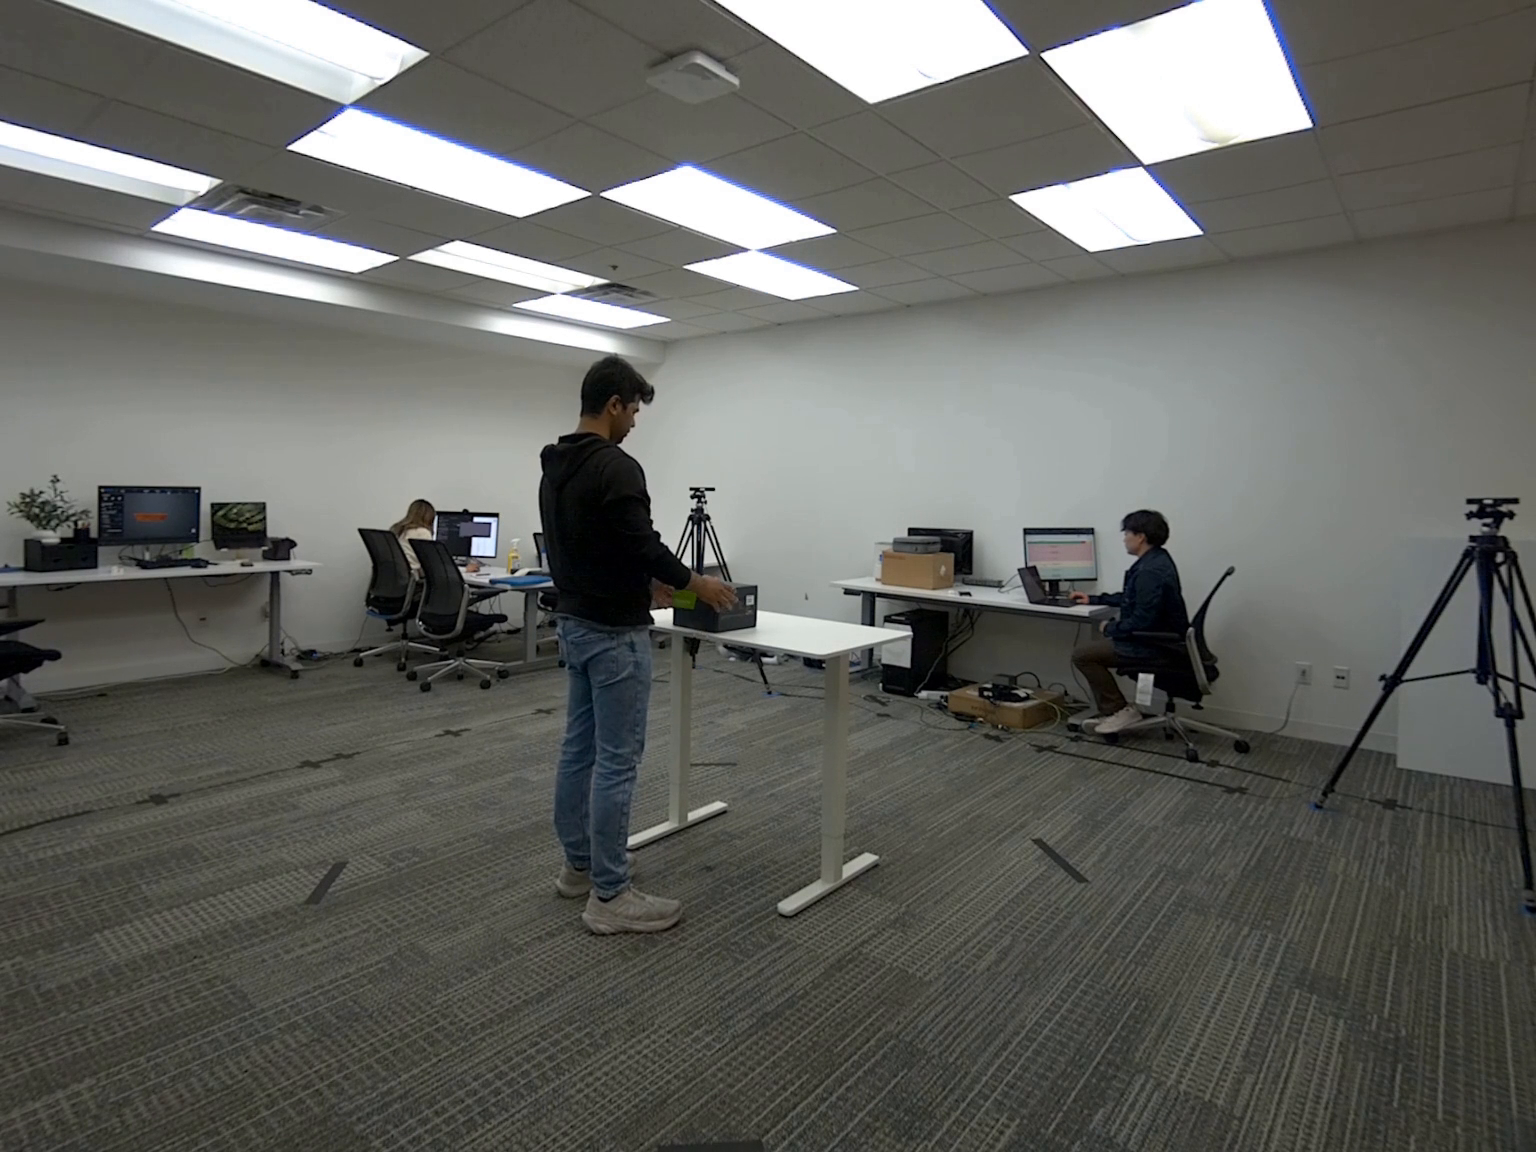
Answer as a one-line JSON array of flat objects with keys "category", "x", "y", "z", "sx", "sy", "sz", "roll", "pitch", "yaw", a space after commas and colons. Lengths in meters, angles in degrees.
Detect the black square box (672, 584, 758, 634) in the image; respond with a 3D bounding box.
[{"category": "black square box", "x": -0.196, "y": 0.103, "z": 3.126, "sx": 0.236, "sy": 0.155, "sz": 0.210, "roll": 5, "pitch": 6, "yaw": 41}]
